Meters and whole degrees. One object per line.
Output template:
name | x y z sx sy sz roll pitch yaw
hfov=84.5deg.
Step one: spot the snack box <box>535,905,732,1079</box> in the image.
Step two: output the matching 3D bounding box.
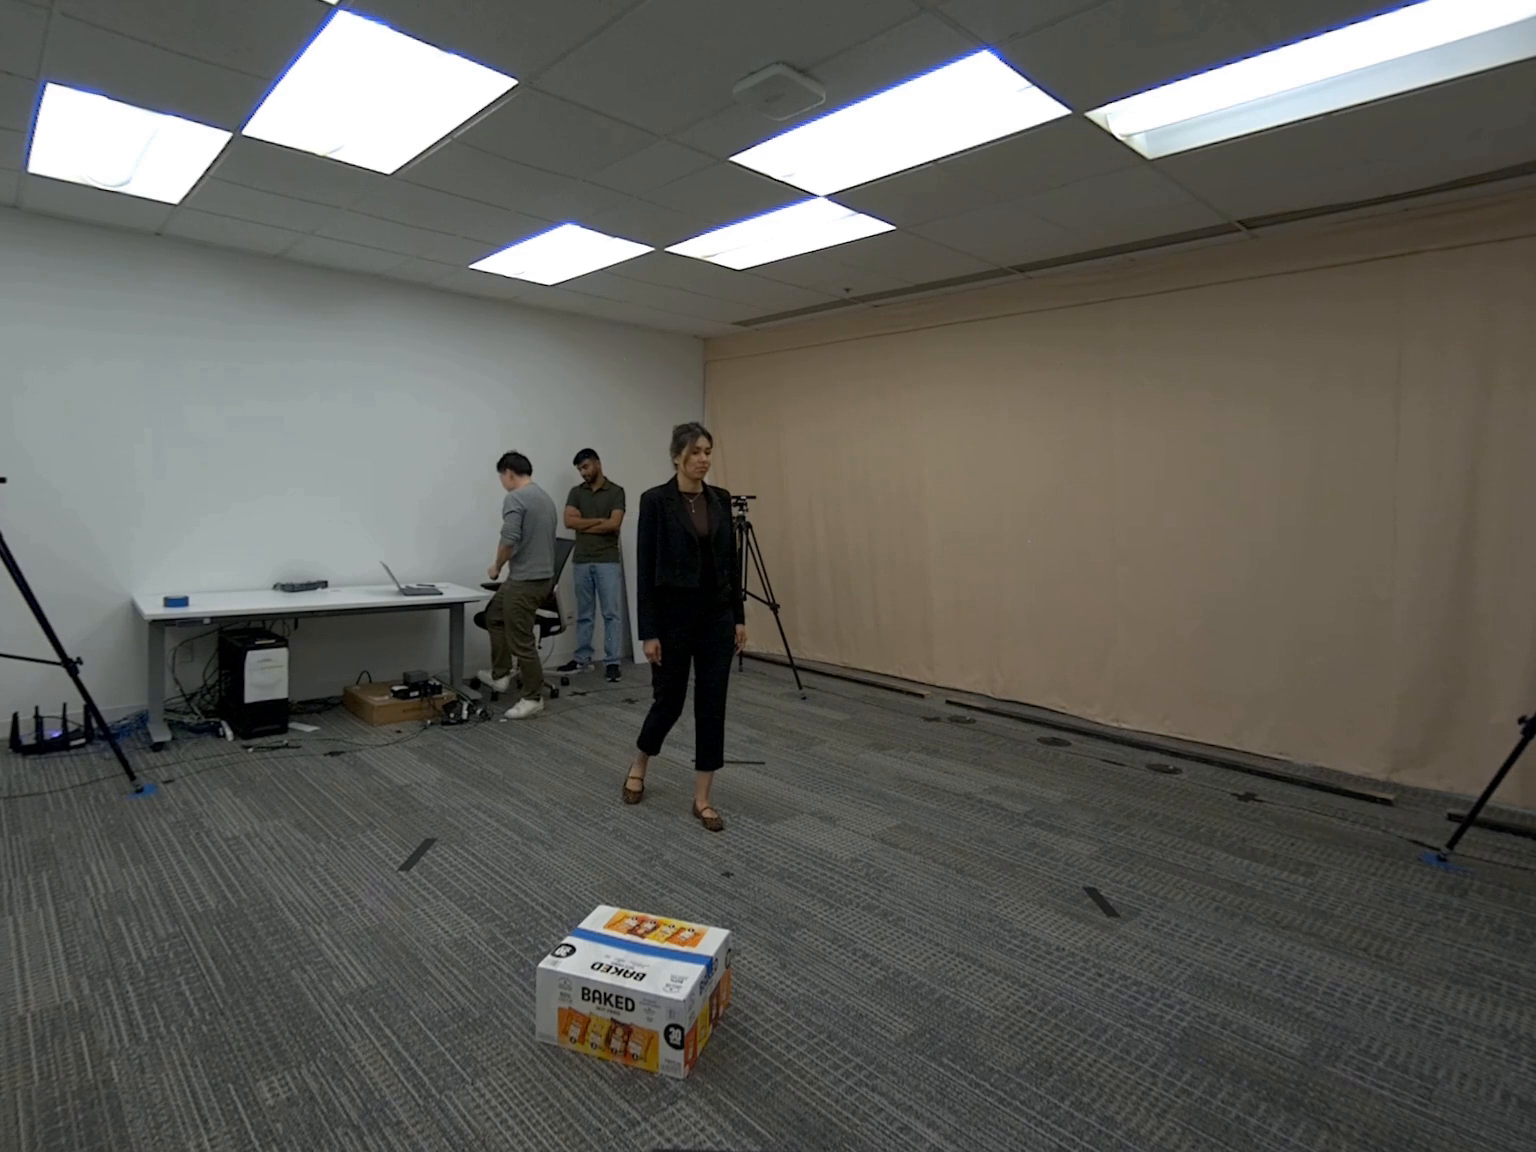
snack box | -0.351 1.081 2.211 0.411 0.205 0.336 3 5 17
